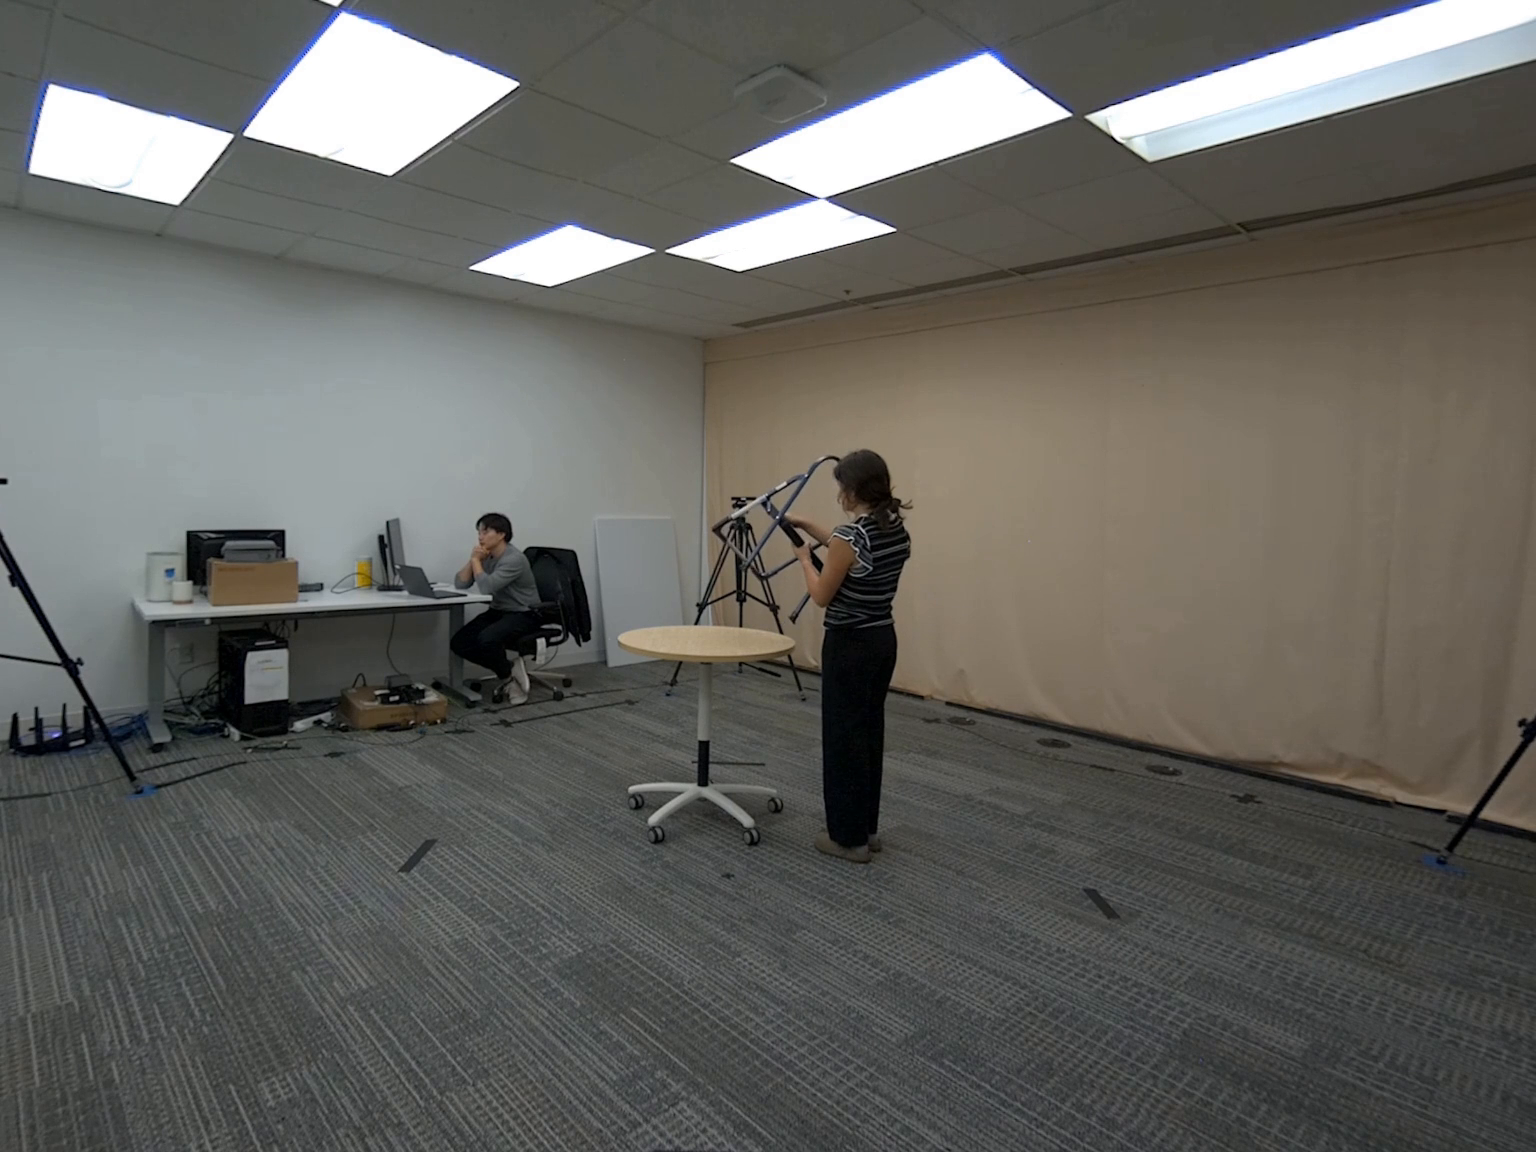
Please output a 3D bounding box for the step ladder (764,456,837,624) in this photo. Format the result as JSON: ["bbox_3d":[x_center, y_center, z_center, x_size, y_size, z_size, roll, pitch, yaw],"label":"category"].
[{"bbox_3d":[0.150,-0.203,3.510,0.417,0.606,0.360,48,0,-40],"label":"step ladder"}]
